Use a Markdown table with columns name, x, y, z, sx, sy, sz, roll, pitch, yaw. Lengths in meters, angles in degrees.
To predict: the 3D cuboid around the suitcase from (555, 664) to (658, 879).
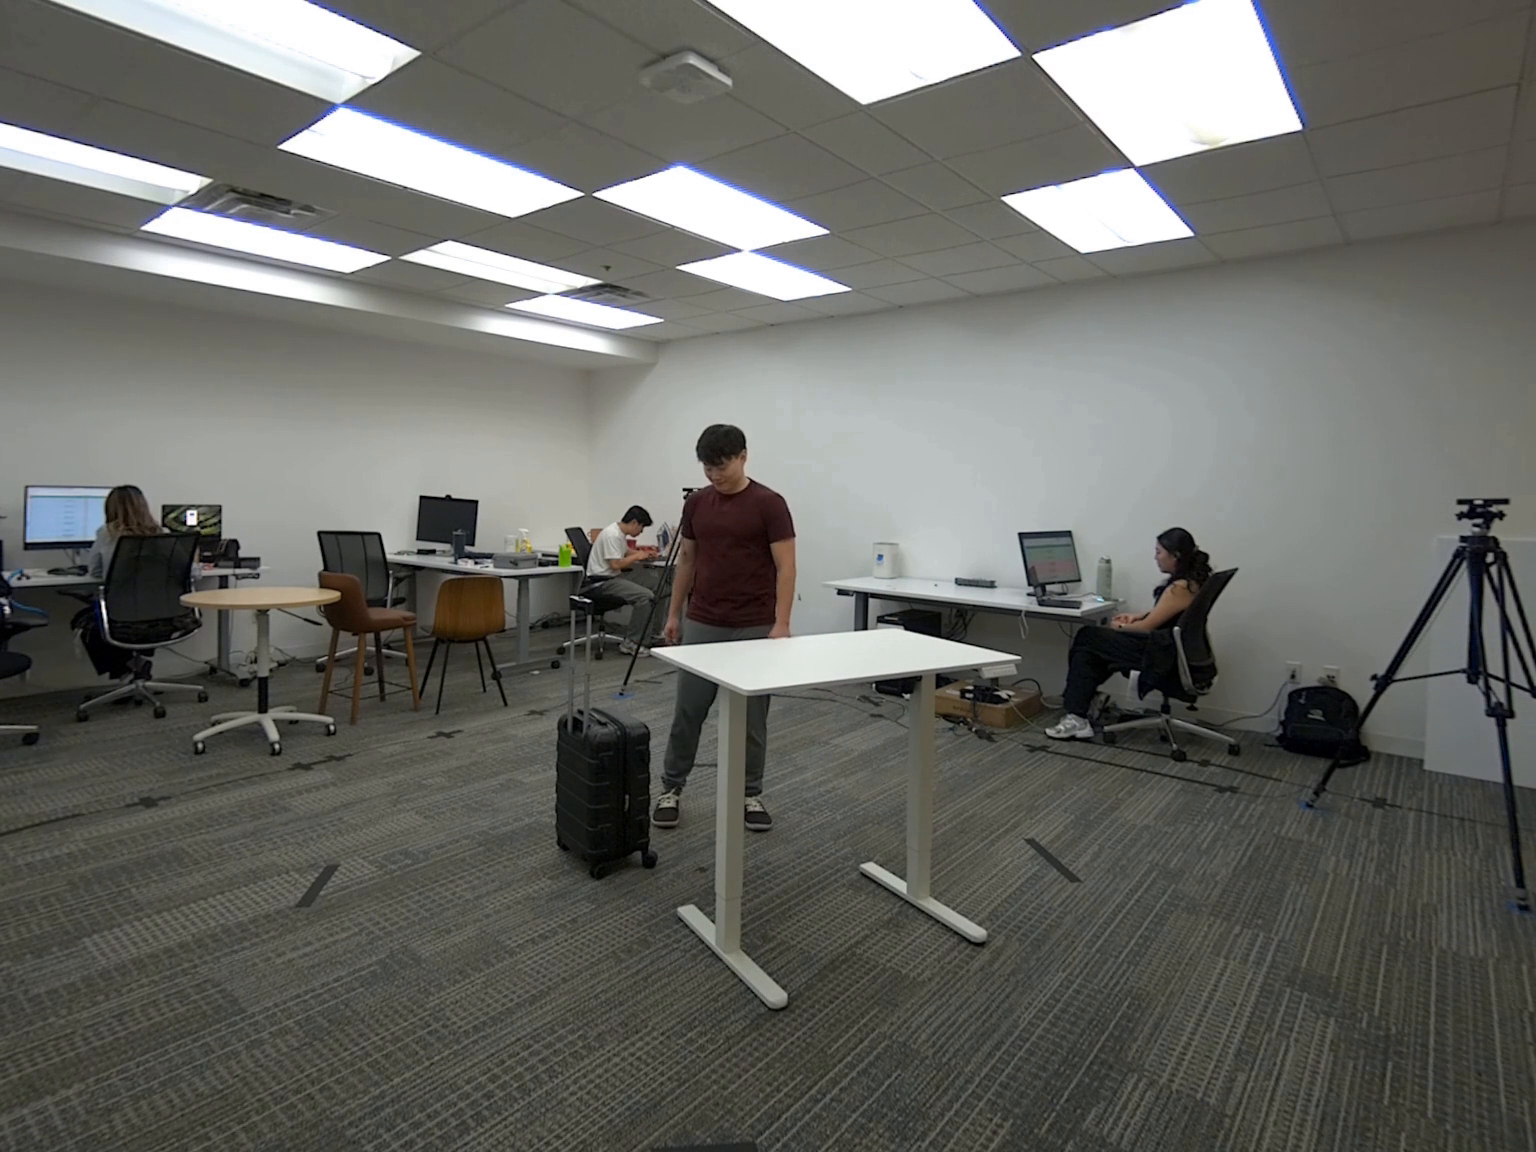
| name | x | y | z | sx | sy | sz | roll | pitch | yaw |
| --- | --- | --- | --- | --- | --- | --- | --- | --- | --- |
| suitcase | -0.625 | 0.576 | 3.170 | 0.250 | 0.977 | 0.396 | 1 | 3 | -32 |
